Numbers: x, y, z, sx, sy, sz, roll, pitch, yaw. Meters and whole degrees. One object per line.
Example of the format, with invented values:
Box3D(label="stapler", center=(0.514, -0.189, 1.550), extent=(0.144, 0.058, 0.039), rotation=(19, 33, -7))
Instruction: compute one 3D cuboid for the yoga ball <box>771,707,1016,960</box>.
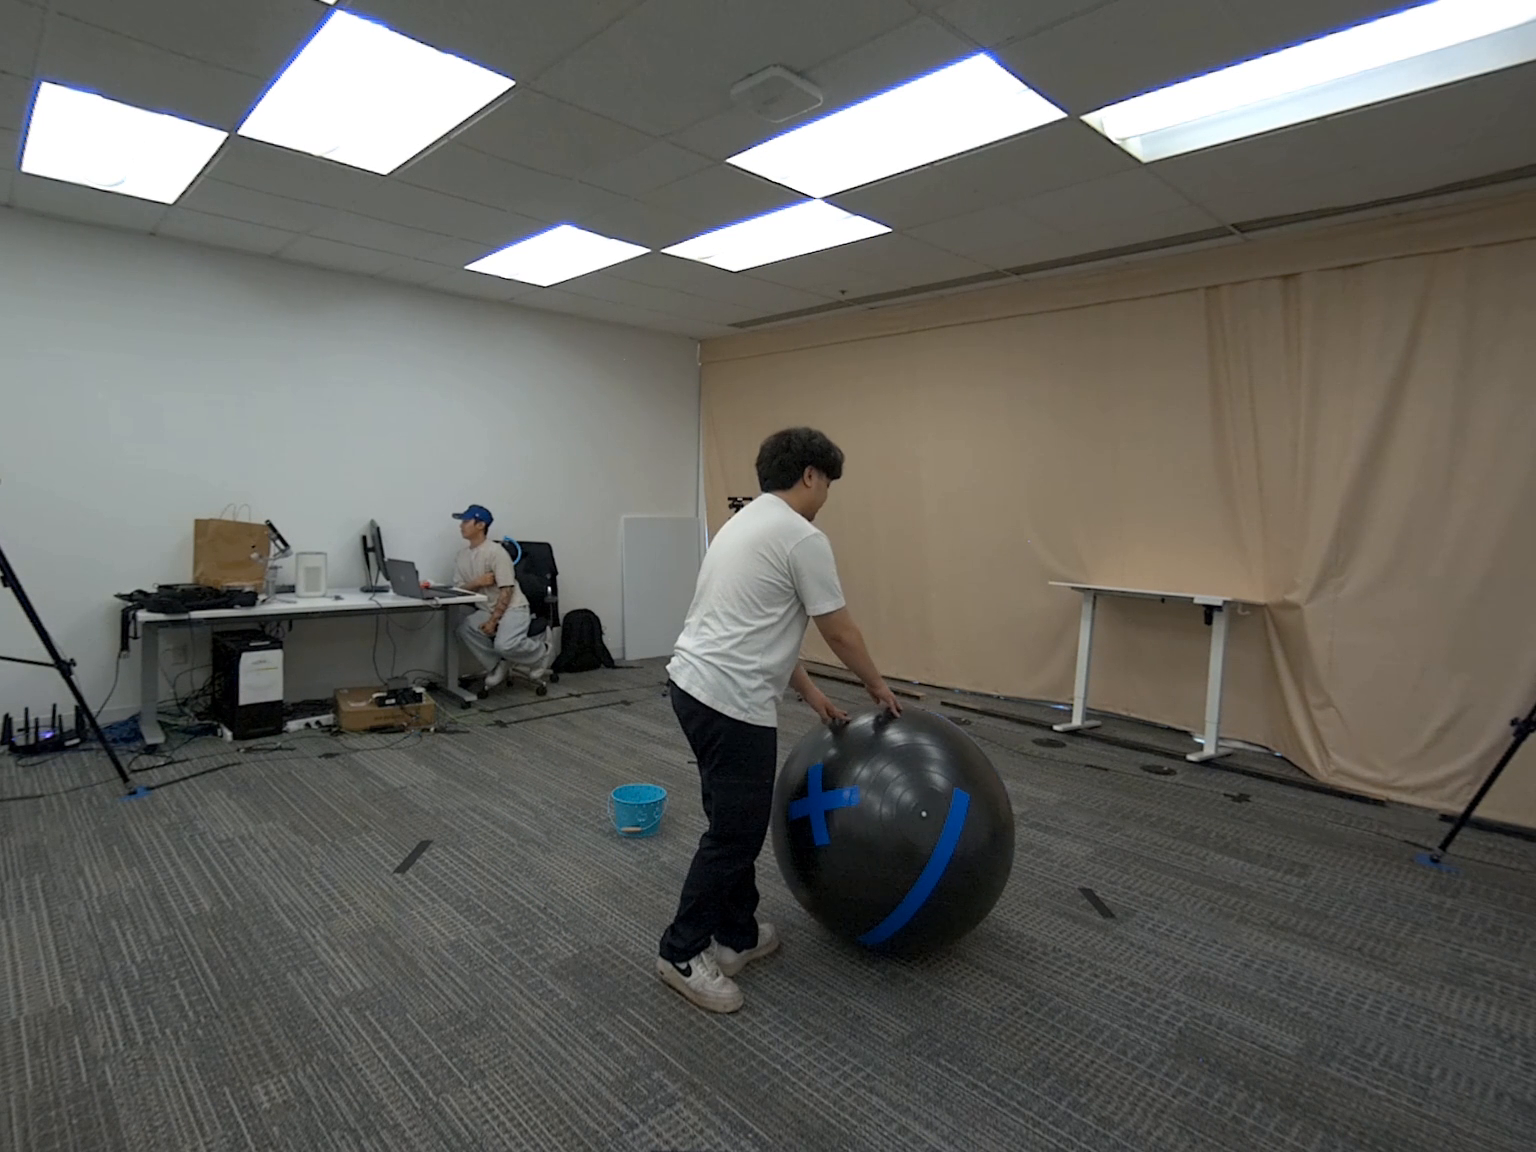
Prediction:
Box3D(label="yoga ball", center=(0.389, 0.794, 2.684), extent=(0.757, 0.756, 0.761), rotation=(1, 4, -1))
